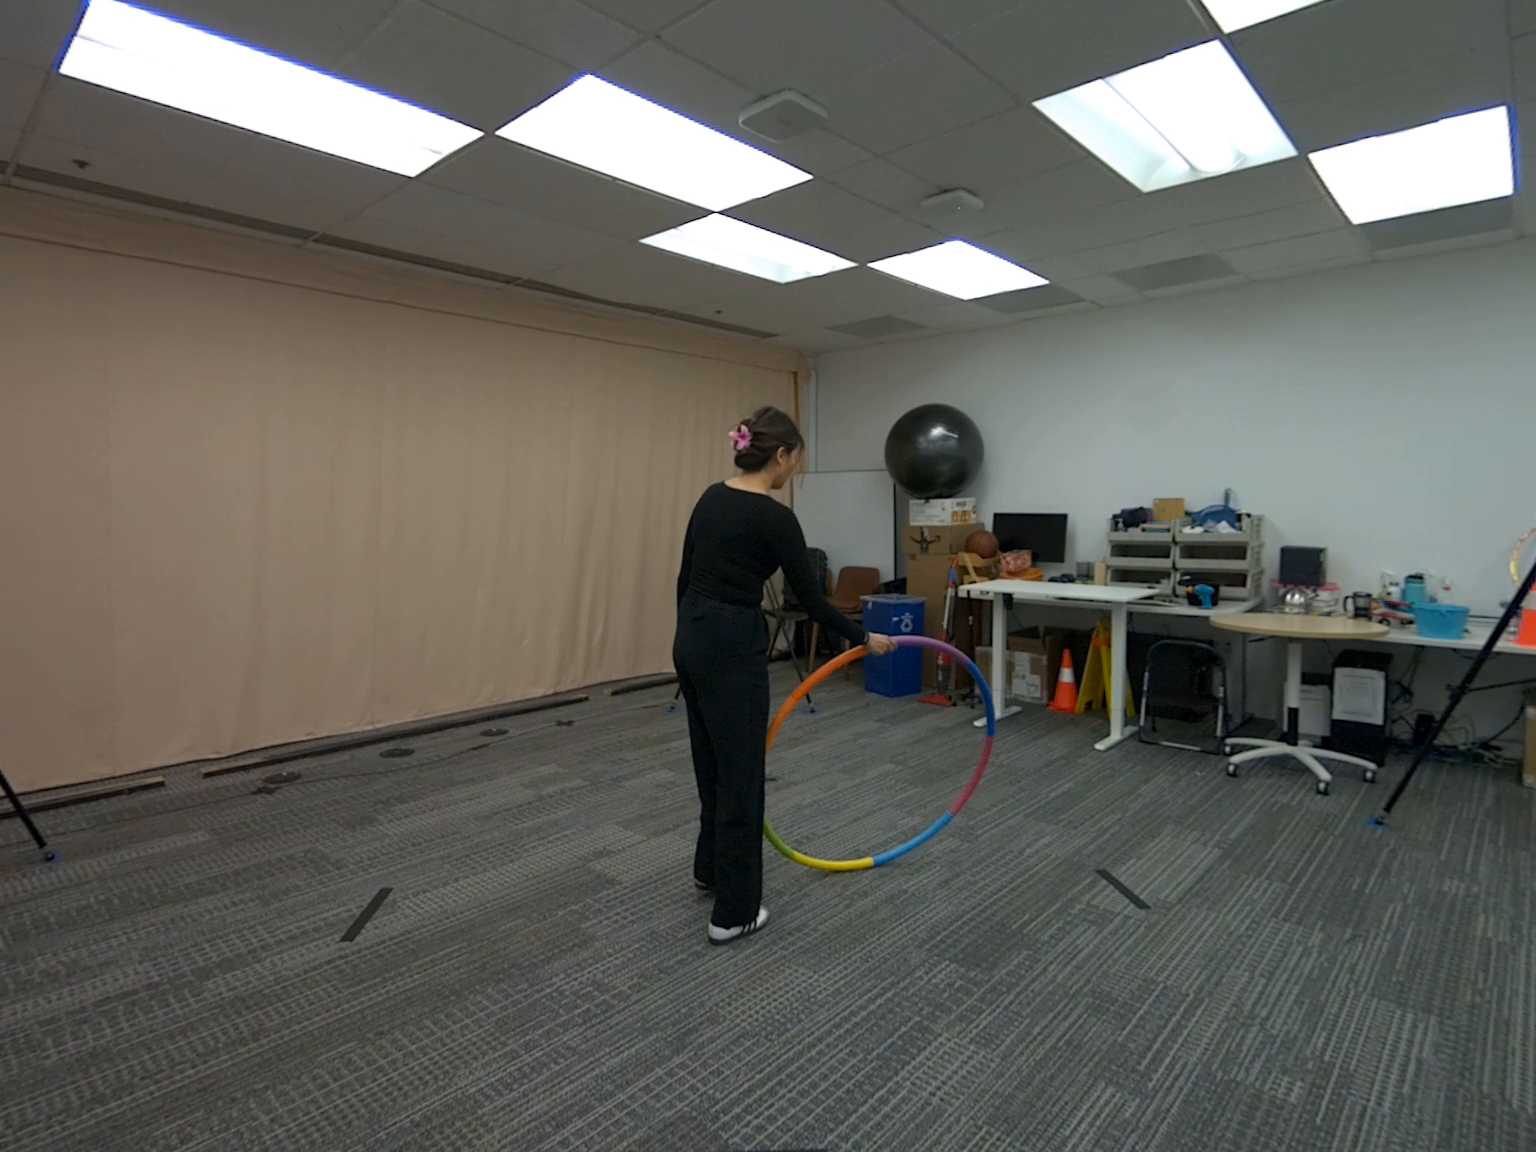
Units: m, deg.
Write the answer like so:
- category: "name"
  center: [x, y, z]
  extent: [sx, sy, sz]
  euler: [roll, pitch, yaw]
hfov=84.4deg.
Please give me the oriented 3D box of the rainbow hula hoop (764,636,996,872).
- category: "rainbow hula hoop"
  center: [0.405, 0.667, 3.062]
  extent: [0.958, 0.969, 0.036]
  euler: [-1, 23, -21]
